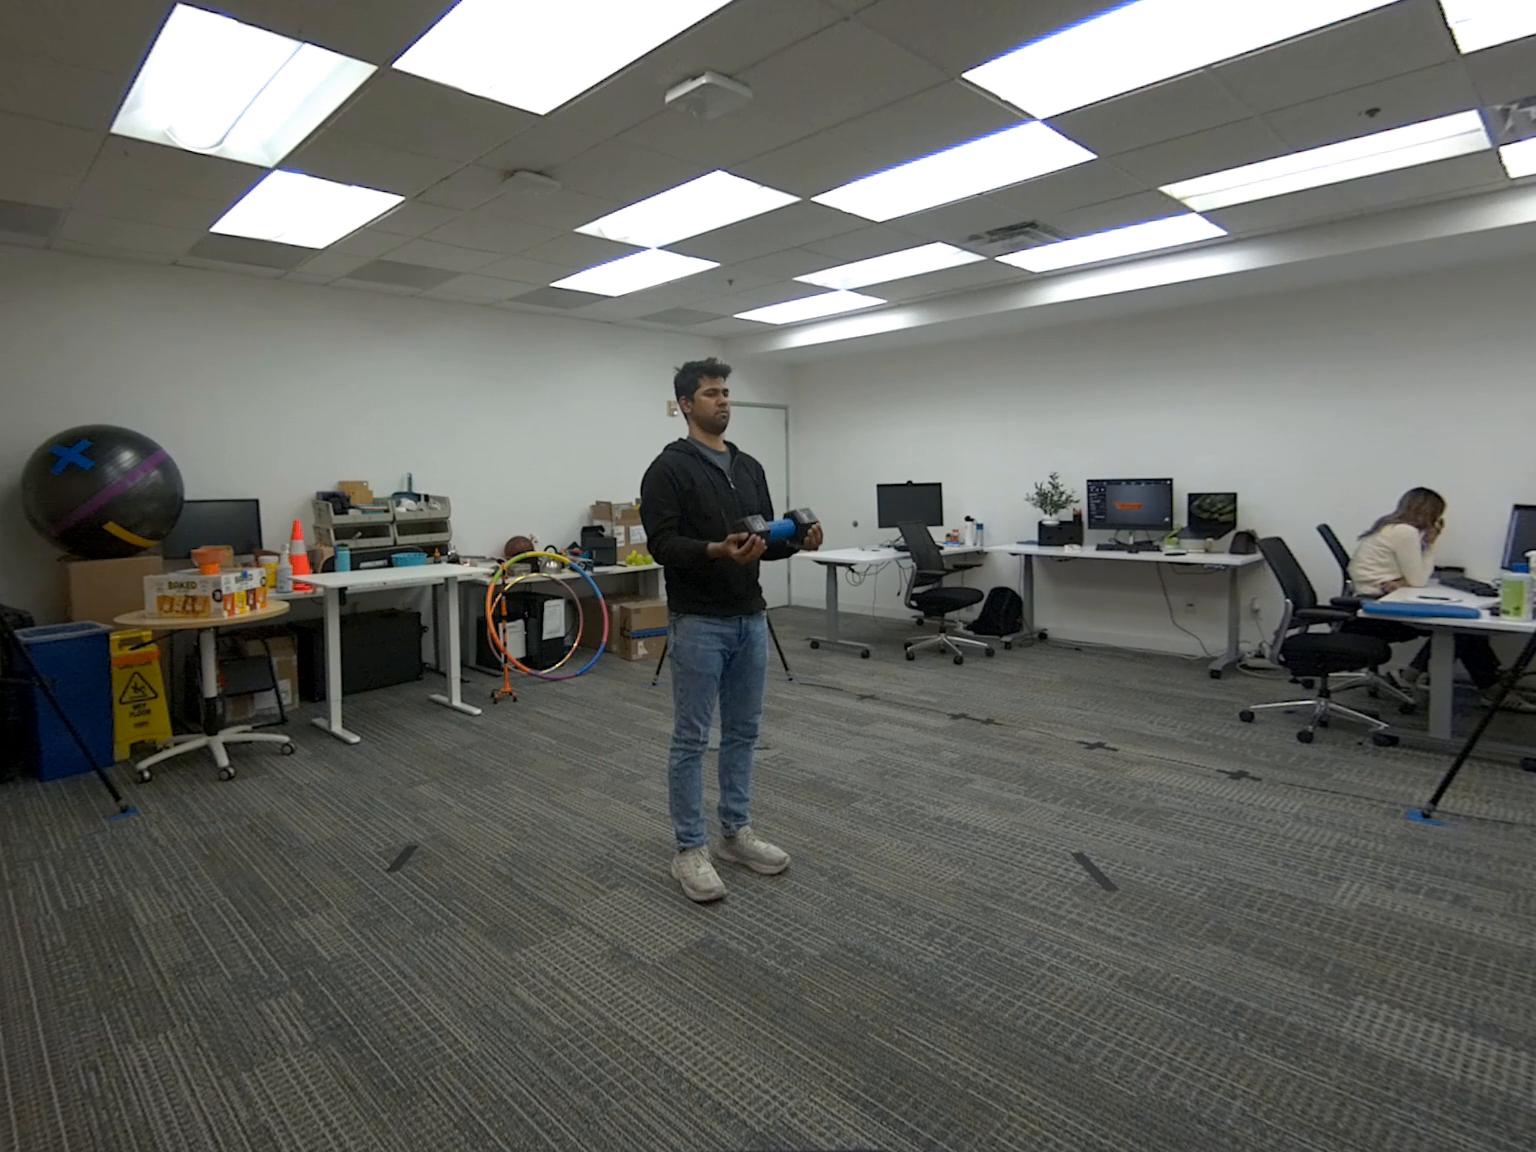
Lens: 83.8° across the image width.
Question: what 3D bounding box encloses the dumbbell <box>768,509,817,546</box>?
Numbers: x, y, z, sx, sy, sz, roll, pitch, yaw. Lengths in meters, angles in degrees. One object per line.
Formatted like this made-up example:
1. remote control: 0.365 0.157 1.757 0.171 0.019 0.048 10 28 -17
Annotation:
1. dumbbell: 0.016 -0.150 2.776 0.287 0.127 0.108 -10 -34 -38
